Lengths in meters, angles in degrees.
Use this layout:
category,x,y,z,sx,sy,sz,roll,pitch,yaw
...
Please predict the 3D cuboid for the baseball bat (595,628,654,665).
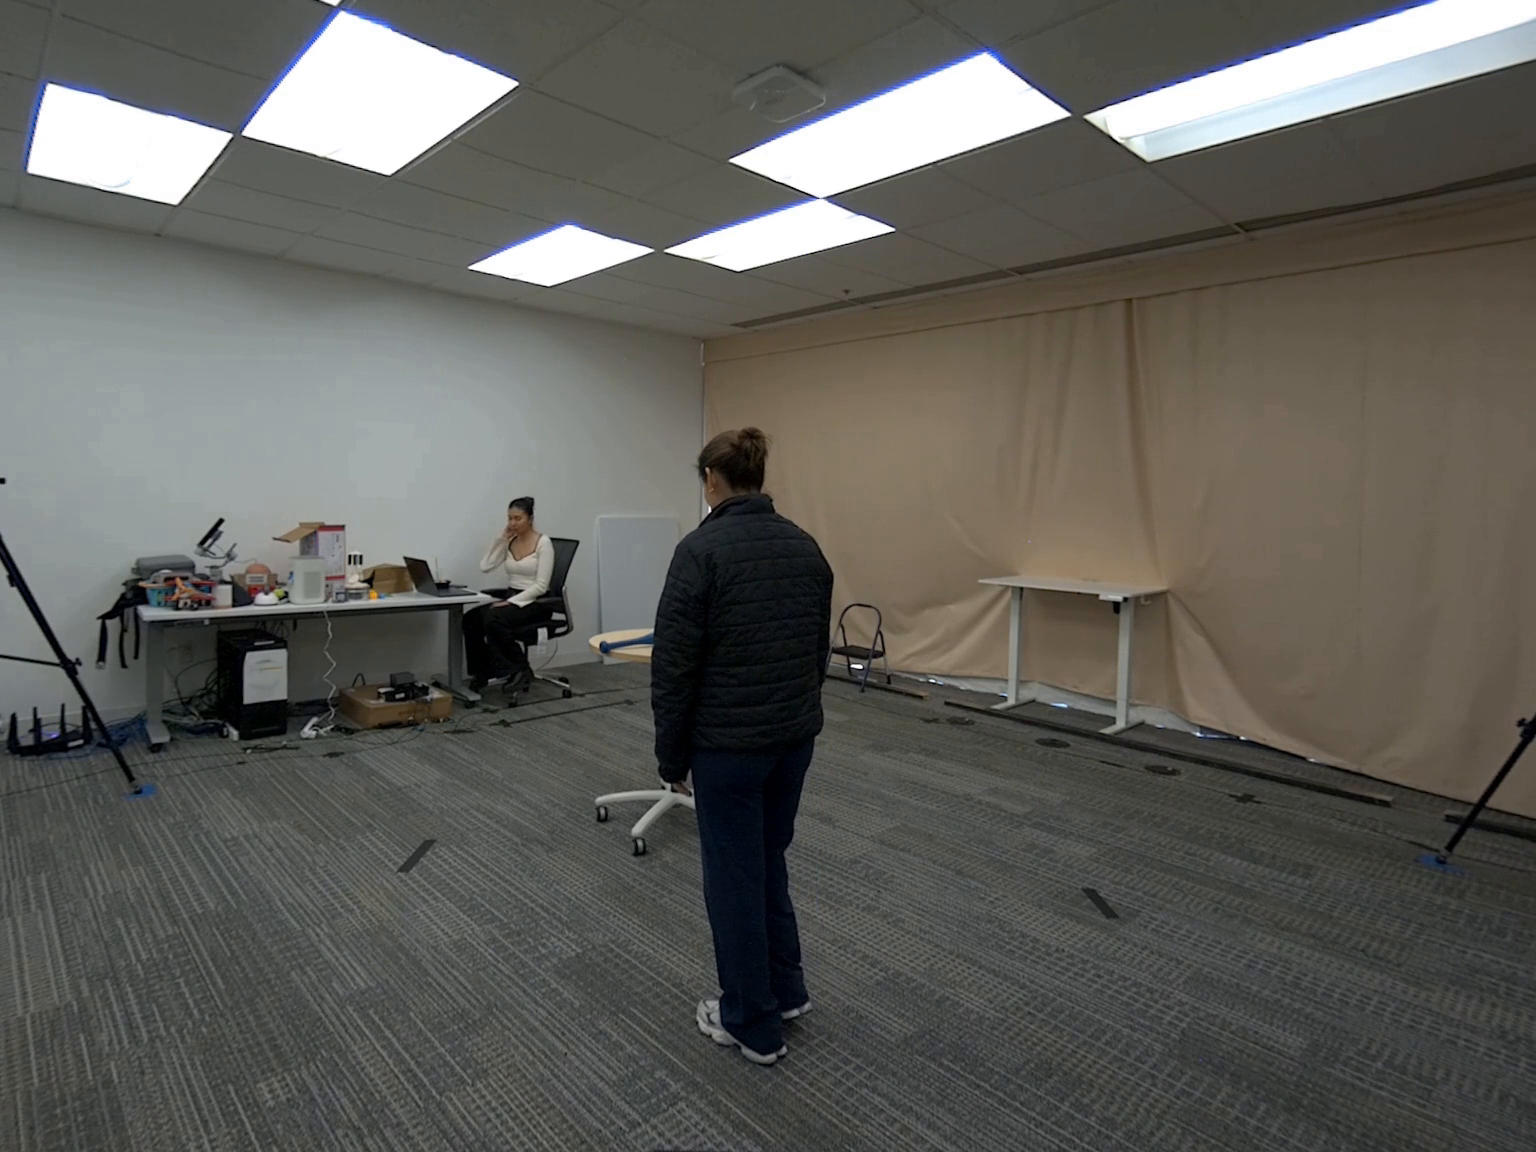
category,x,y,z,sx,sy,sz,roll,pitch,yaw
baseball bat,-0.428,0.258,3.407,0.532,0.088,0.091,-8,9,-36
